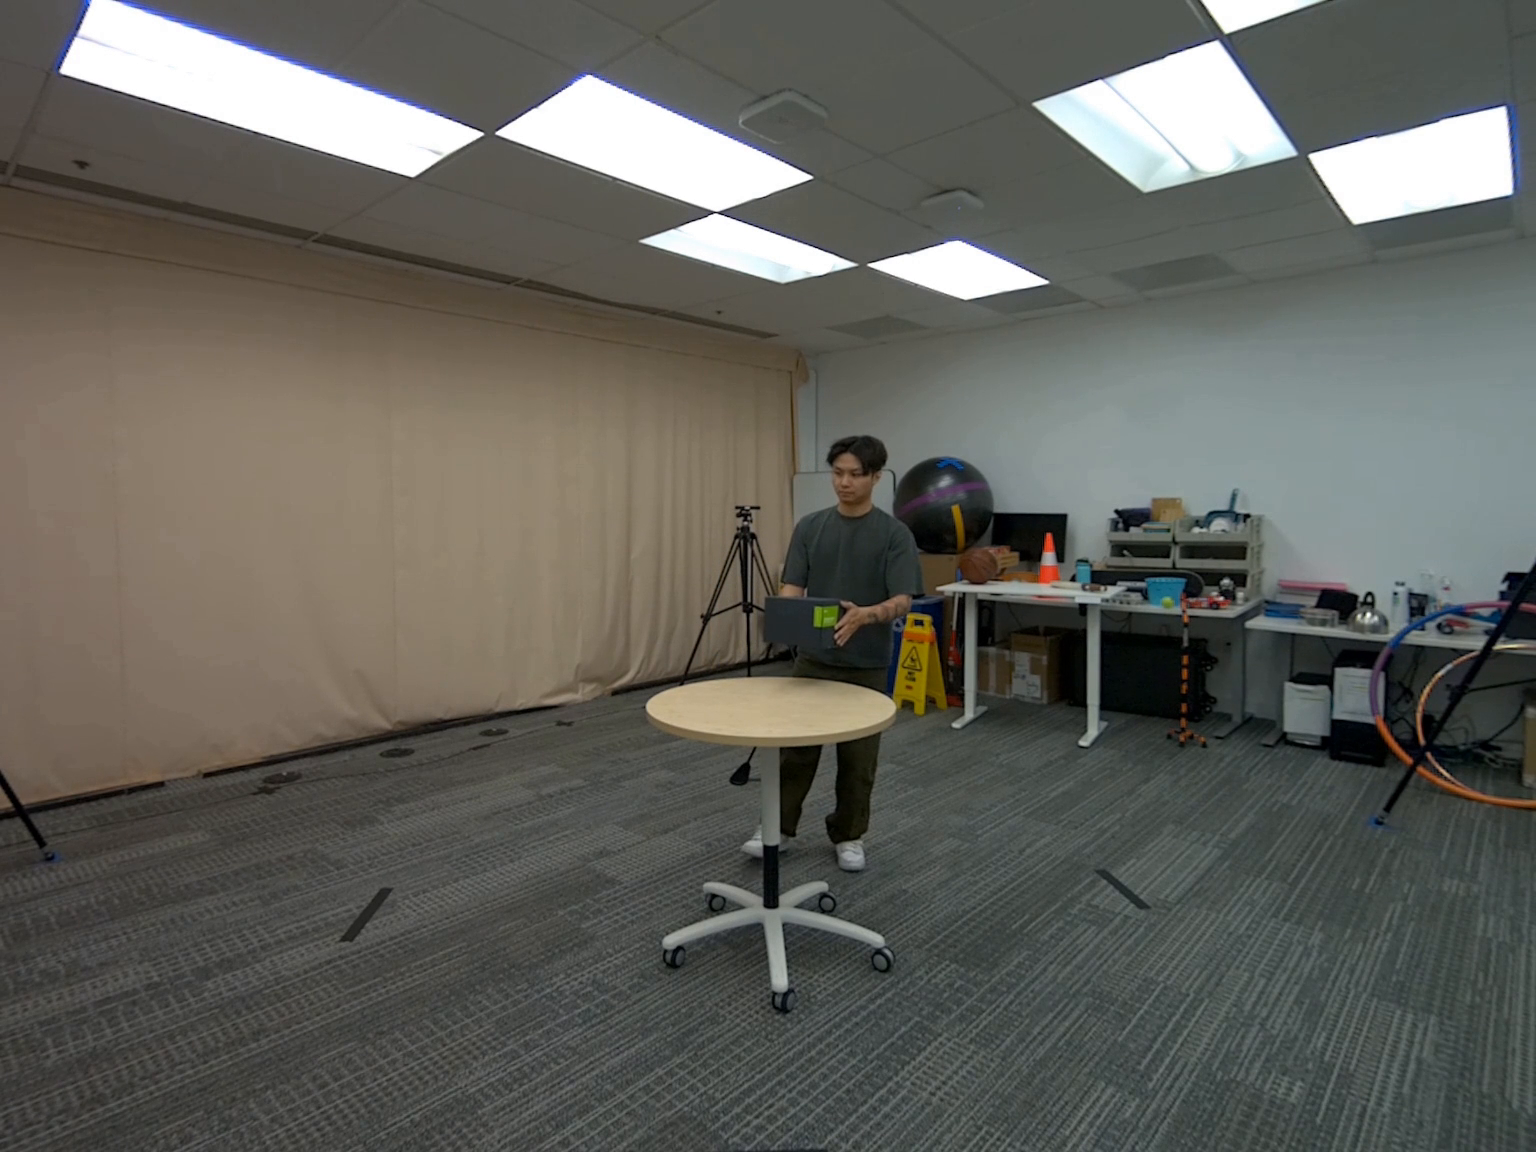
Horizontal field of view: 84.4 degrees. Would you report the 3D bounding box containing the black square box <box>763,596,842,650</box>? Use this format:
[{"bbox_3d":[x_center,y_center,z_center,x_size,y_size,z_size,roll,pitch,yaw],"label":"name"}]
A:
[{"bbox_3d":[0.124,0.150,2.877,0.223,0.156,0.222,4,1,26],"label":"black square box"}]
